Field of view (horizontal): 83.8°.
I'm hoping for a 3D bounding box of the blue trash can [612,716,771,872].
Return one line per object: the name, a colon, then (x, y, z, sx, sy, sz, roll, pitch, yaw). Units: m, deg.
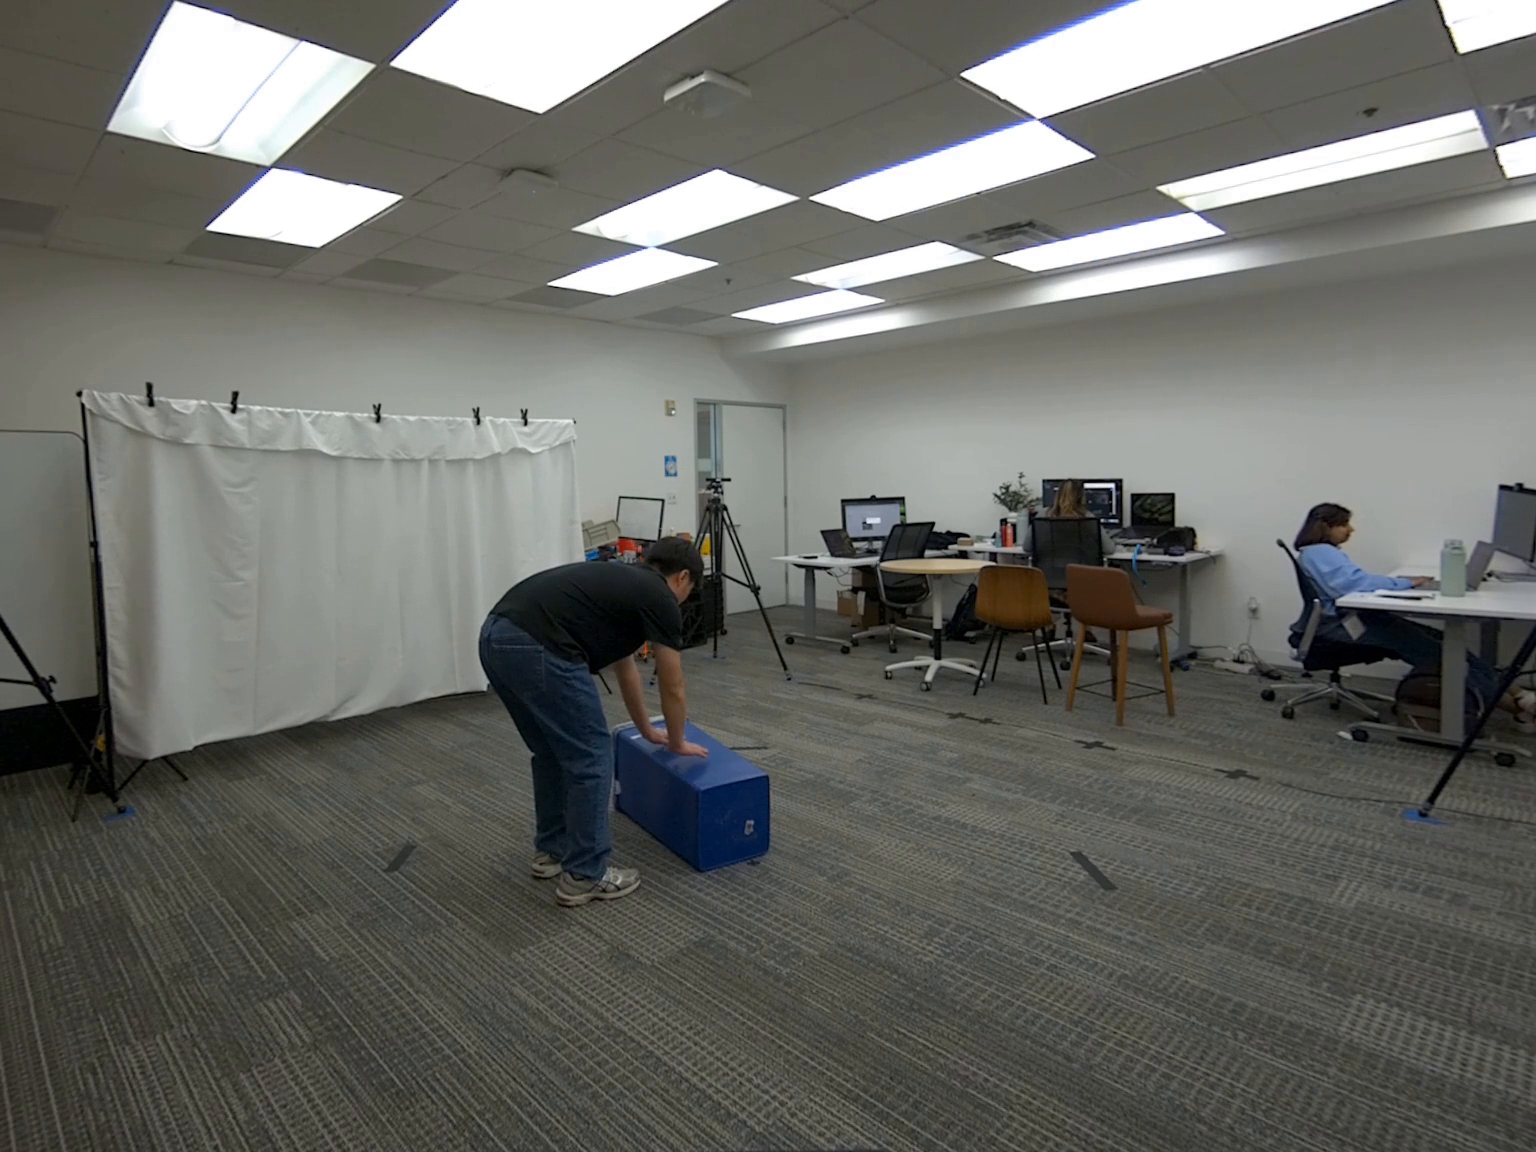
blue trash can: (-0.307, 0.846, 3.398, 0.365, 0.375, 0.736, -4, 10, -33)
